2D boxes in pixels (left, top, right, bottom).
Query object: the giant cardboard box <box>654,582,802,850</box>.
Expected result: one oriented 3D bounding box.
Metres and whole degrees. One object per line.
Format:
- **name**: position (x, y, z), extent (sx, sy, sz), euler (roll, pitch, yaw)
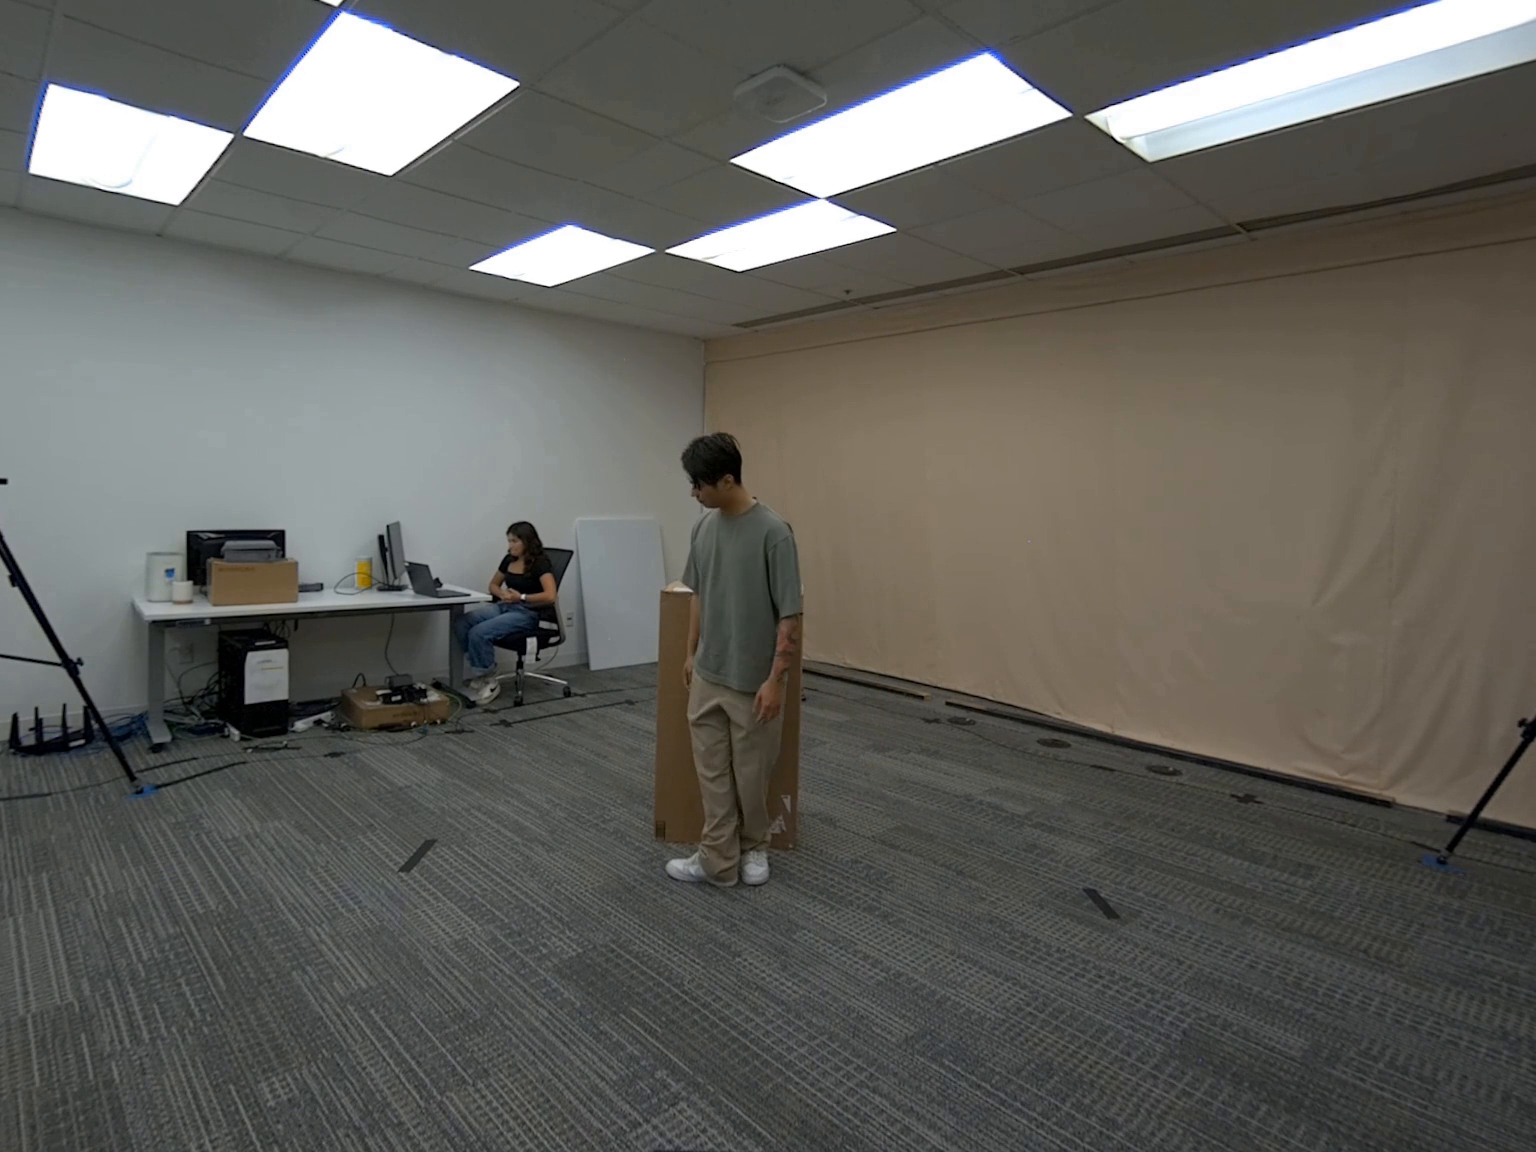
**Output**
- **giant cardboard box**: position (-0.162, 0.558, 3.565), extent (0.579, 1.024, 0.426), euler (2, 3, 3)
